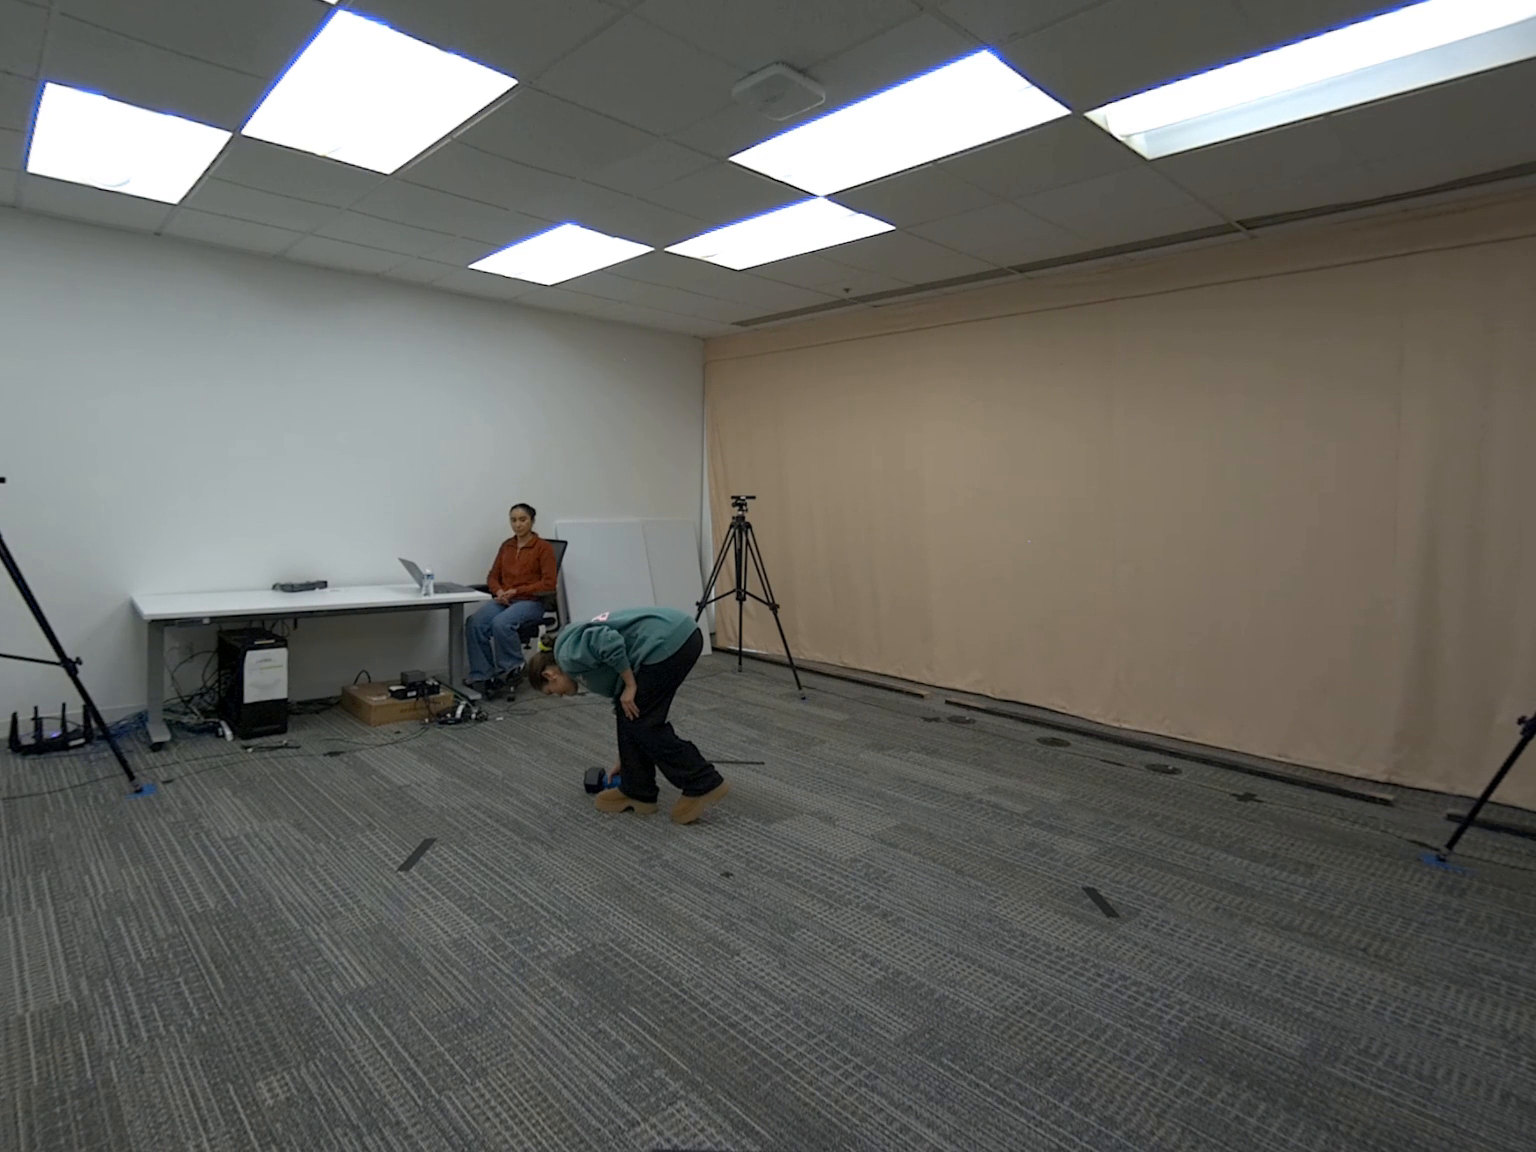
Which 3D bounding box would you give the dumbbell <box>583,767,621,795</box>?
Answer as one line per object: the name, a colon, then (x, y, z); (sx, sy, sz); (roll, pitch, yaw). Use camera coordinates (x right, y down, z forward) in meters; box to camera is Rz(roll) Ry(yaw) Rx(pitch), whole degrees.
dumbbell: (-0.716, 0.960, 3.926); (0.296, 0.125, 0.106); (3, -25, 10)
